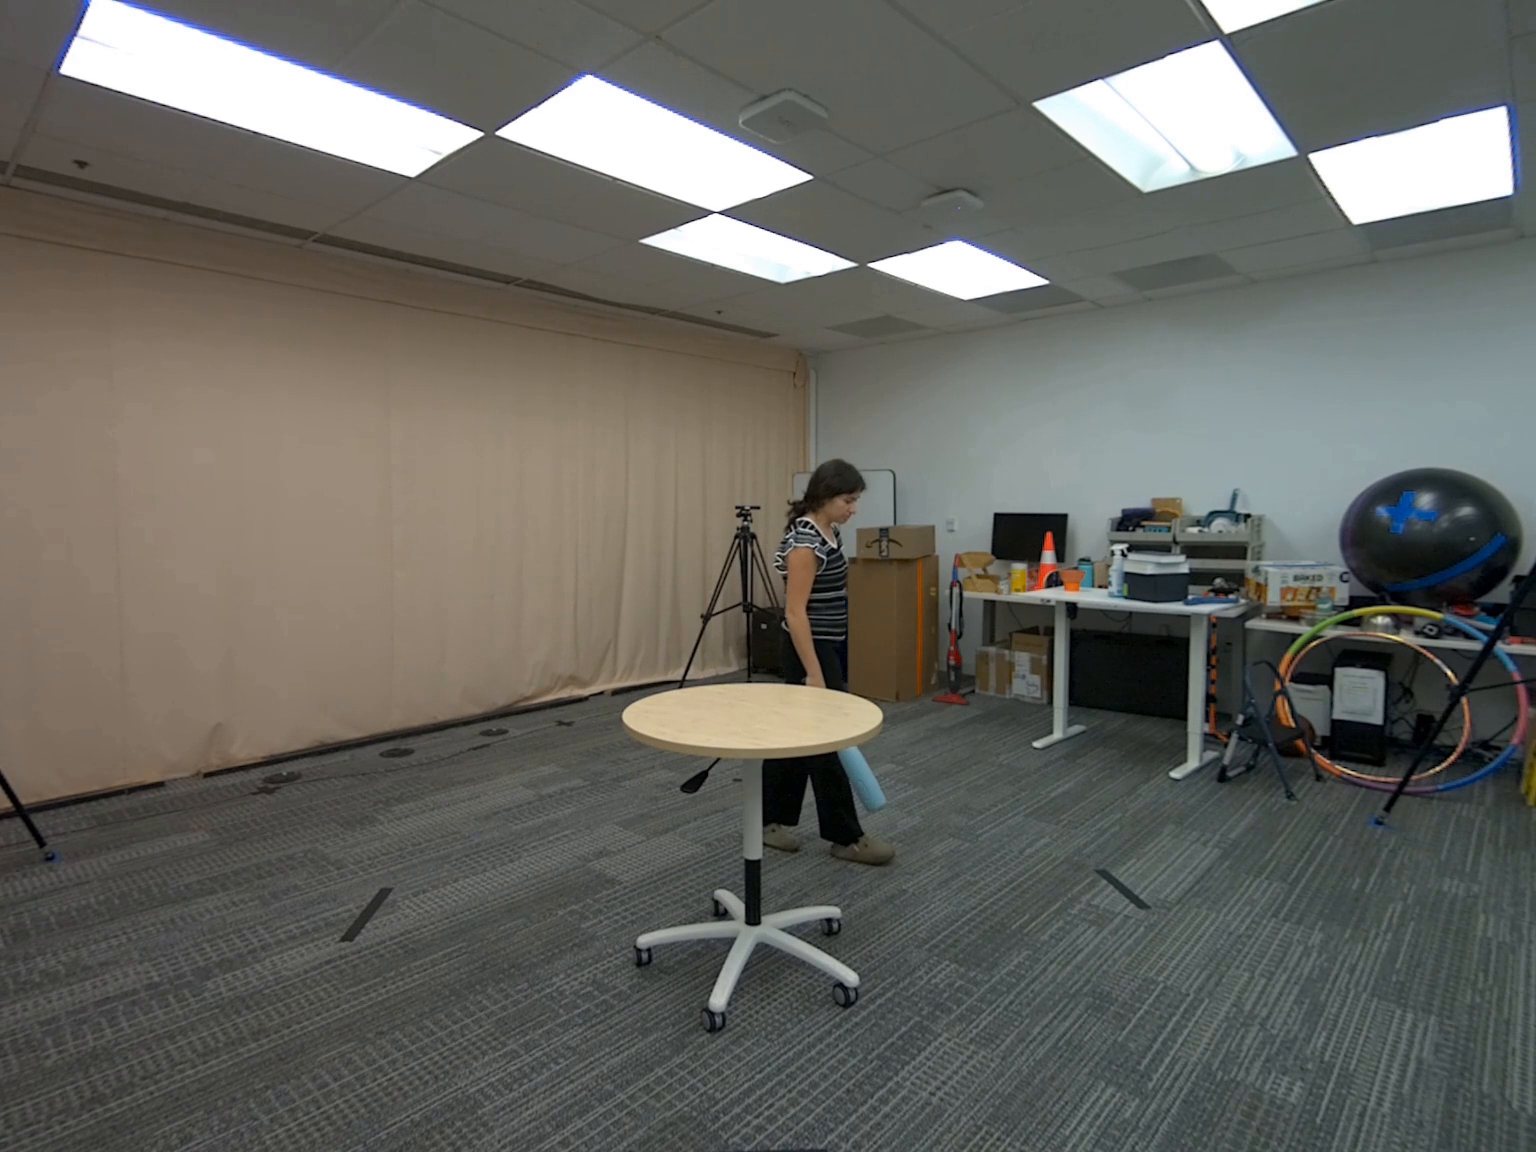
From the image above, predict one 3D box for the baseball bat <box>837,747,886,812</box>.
[{"bbox_3d":[0.286,0.618,3.140,0.089,0.548,0.088,-27,-9,-6],"label":"baseball bat"}]
